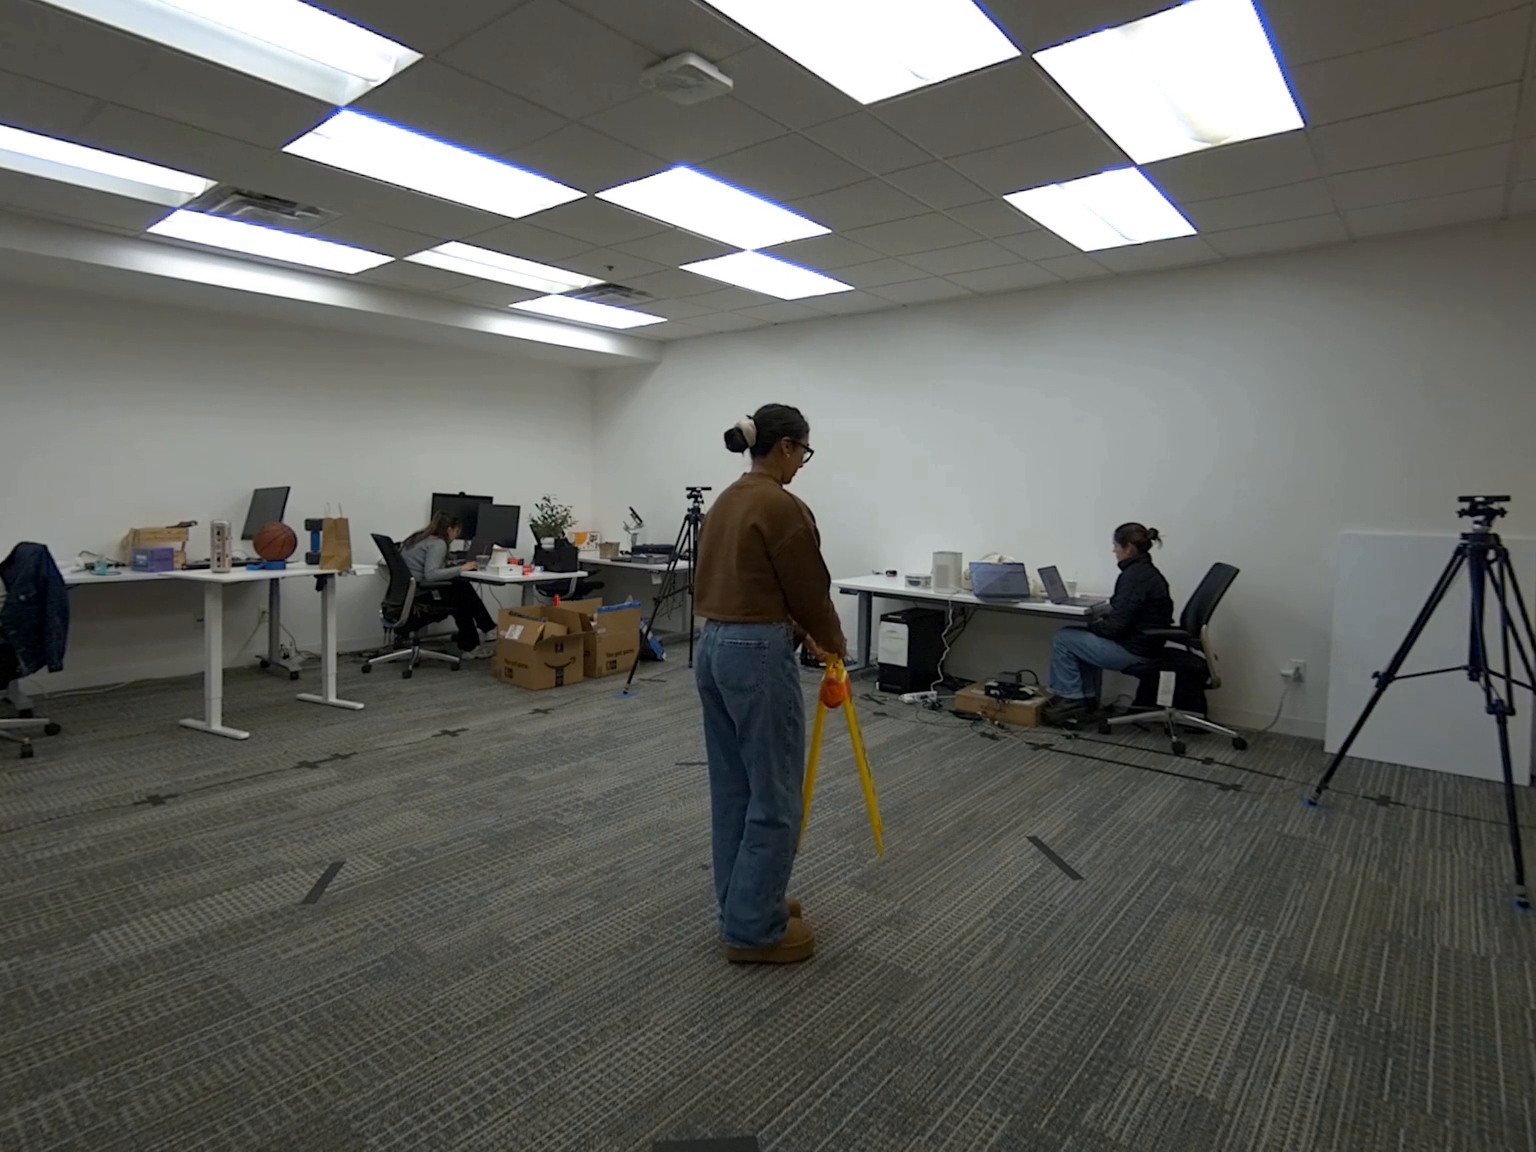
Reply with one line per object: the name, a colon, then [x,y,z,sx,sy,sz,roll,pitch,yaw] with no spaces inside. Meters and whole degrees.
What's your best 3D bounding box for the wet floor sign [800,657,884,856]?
wet floor sign: [0.221,0.544,2.786,0.293,0.645,0.280,-2,2,8]
